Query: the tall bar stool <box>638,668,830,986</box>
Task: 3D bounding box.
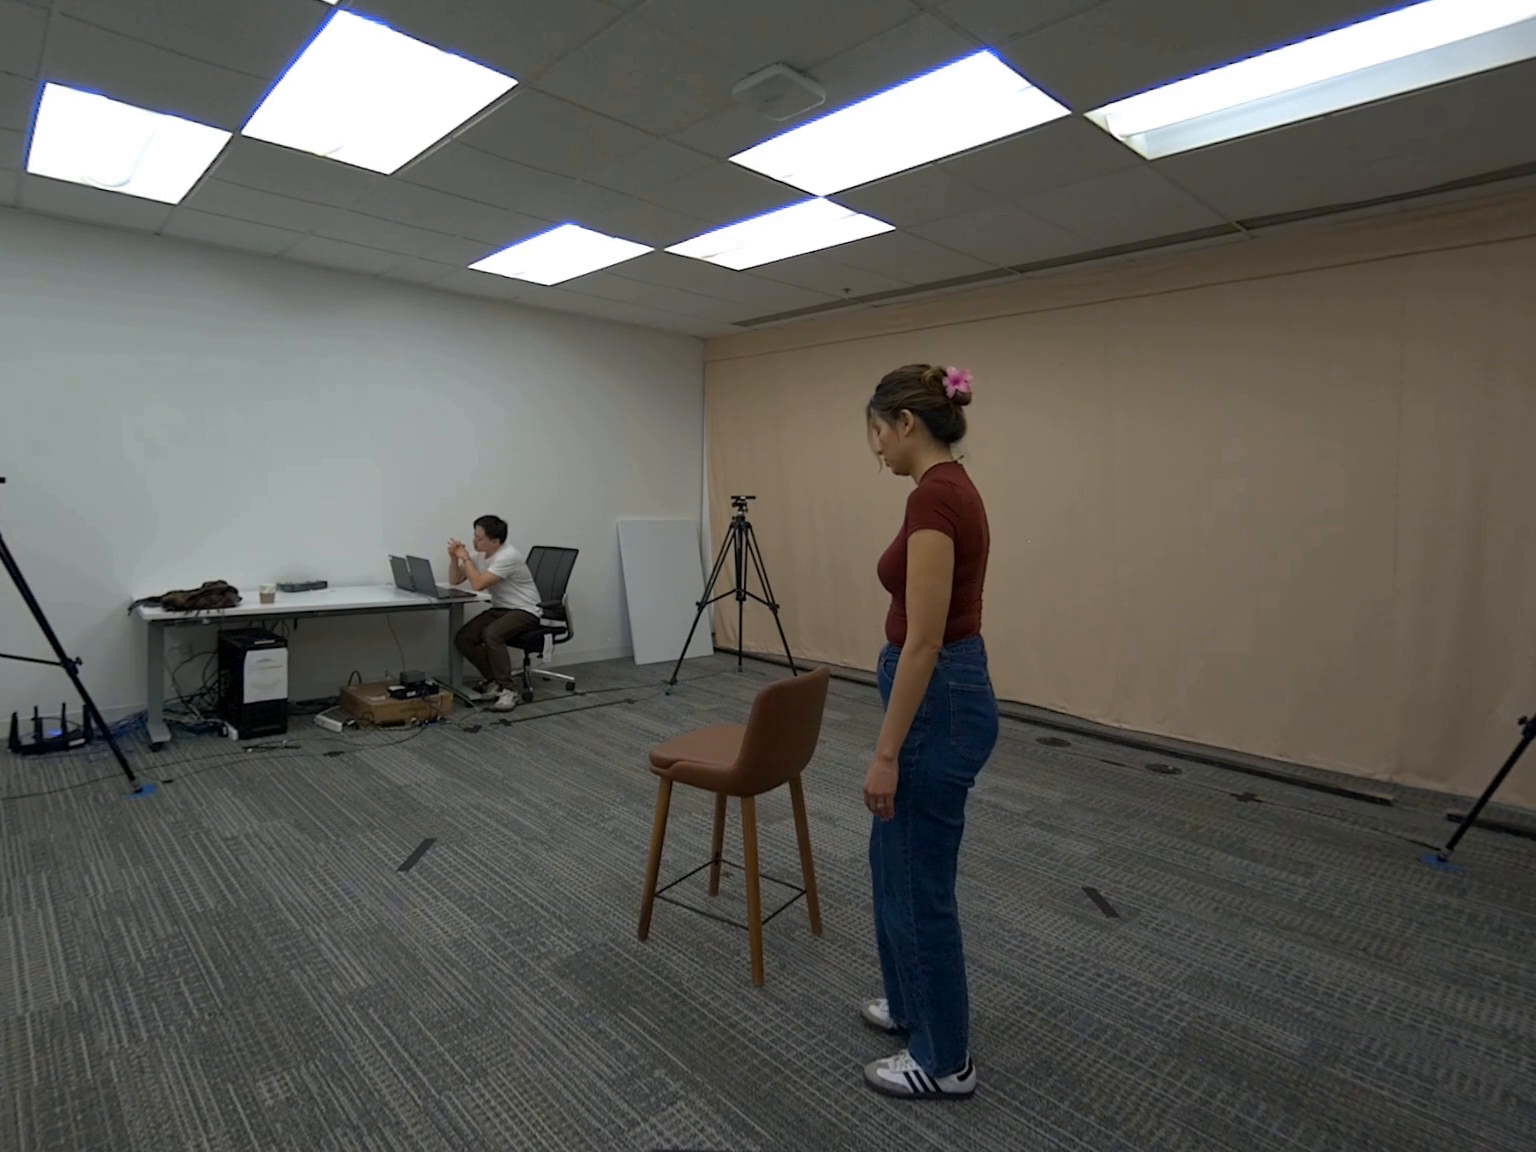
[{"bbox_3d":[-0.103,0.711,2.641,0.479,0.886,0.447,6,6,34],"label":"tall bar stool"}]
